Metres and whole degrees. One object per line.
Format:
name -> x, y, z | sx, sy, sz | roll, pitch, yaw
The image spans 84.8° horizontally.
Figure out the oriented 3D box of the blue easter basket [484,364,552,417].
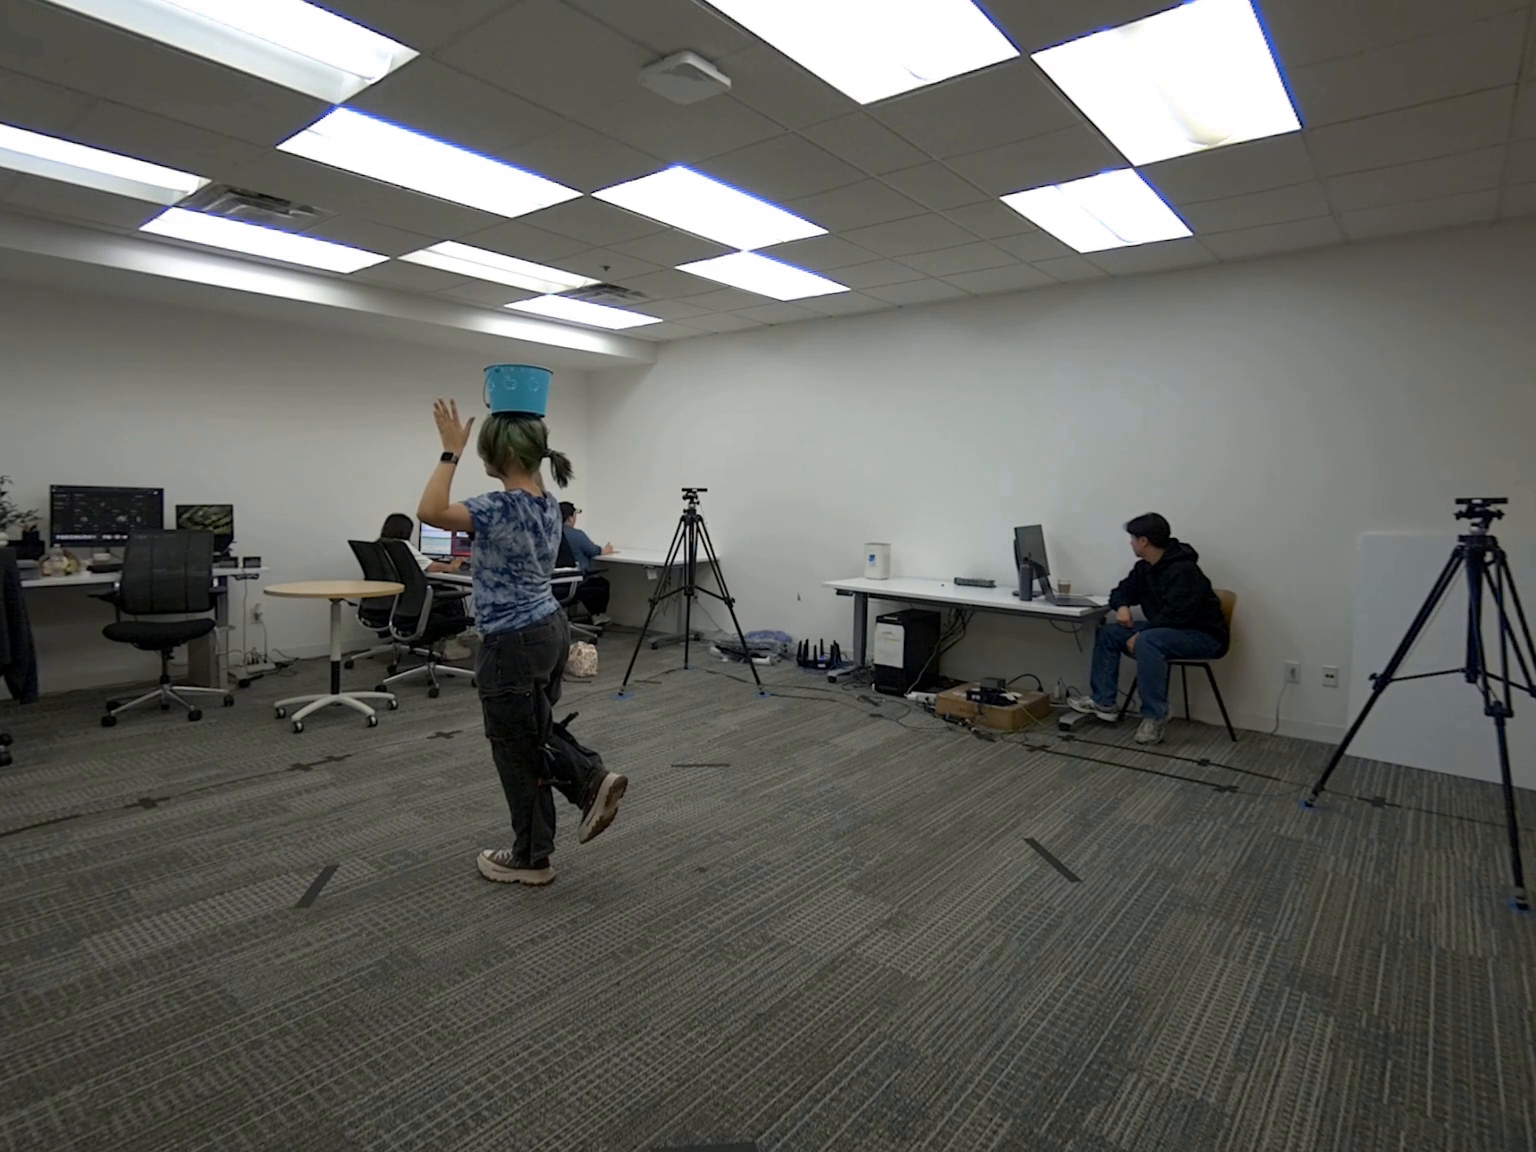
blue easter basket -> -0.866, -0.625, 2.902 | 0.243, 0.156, 0.244 | 2, 1, -2
